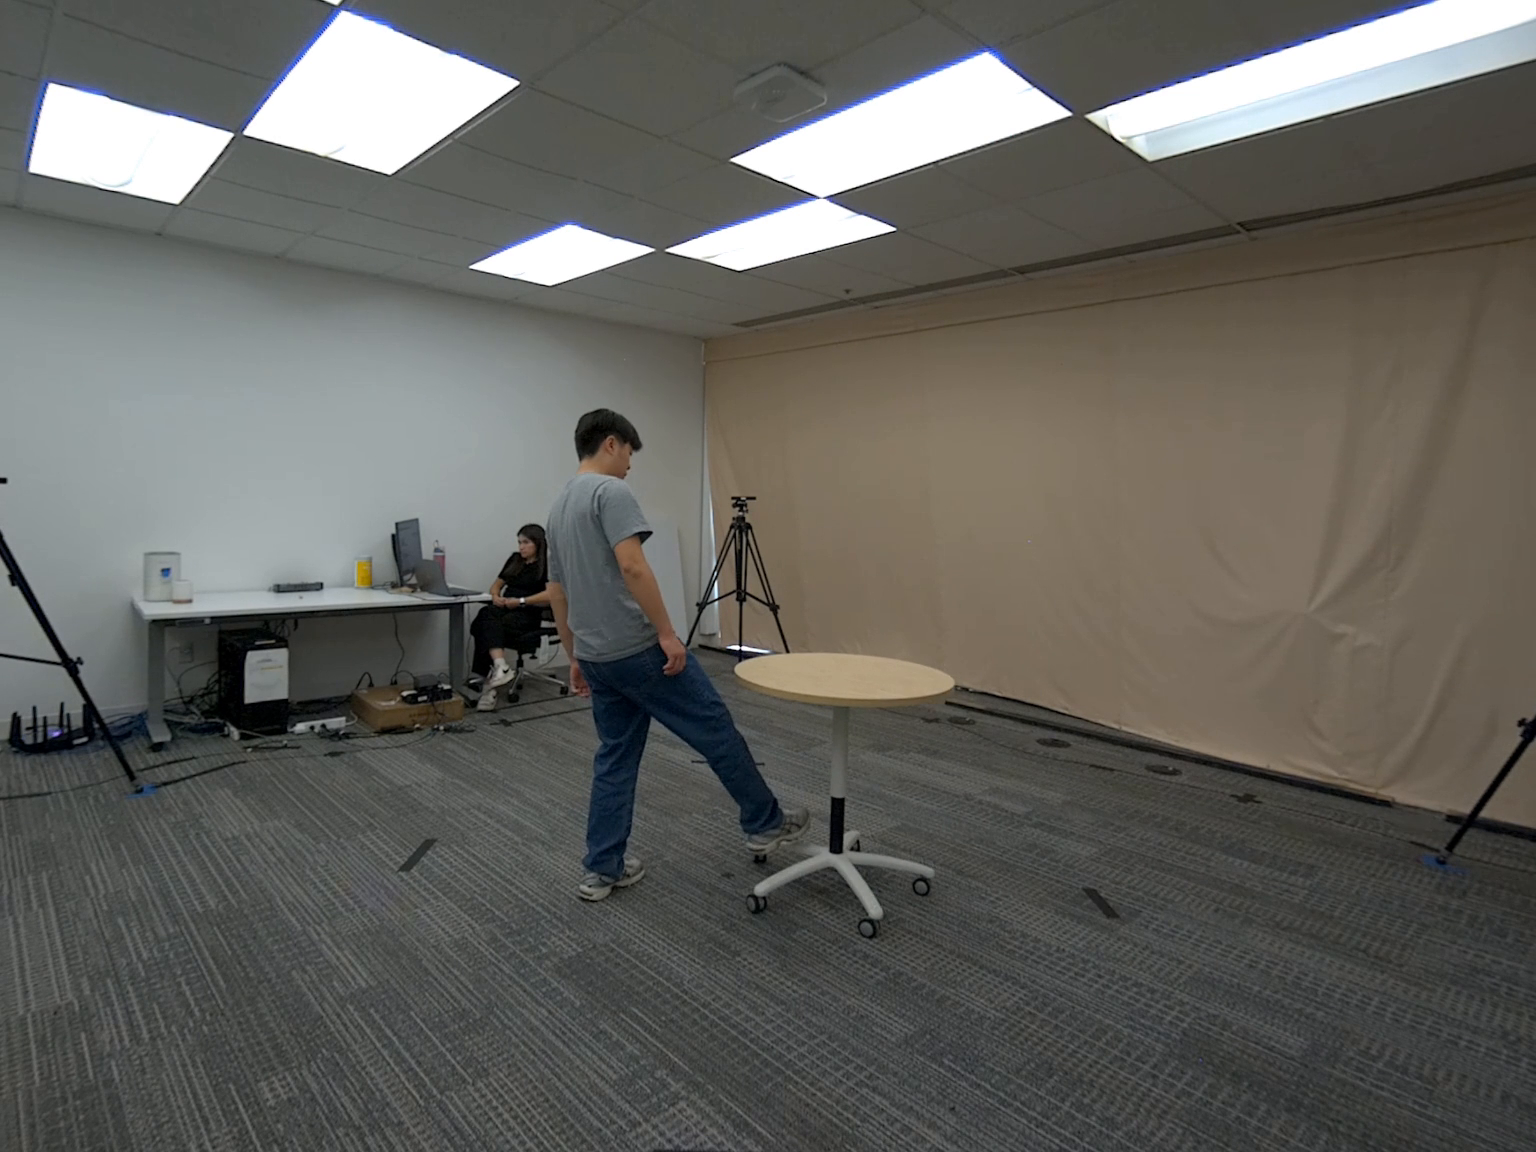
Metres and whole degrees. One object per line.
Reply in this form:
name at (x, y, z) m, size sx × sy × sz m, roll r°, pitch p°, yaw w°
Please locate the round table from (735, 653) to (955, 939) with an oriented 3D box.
round table at (0.243, 0.734, 2.992) m, size 0.763 × 0.792 × 0.766 m, roll 2°, pitch 4°, yaw -1°
